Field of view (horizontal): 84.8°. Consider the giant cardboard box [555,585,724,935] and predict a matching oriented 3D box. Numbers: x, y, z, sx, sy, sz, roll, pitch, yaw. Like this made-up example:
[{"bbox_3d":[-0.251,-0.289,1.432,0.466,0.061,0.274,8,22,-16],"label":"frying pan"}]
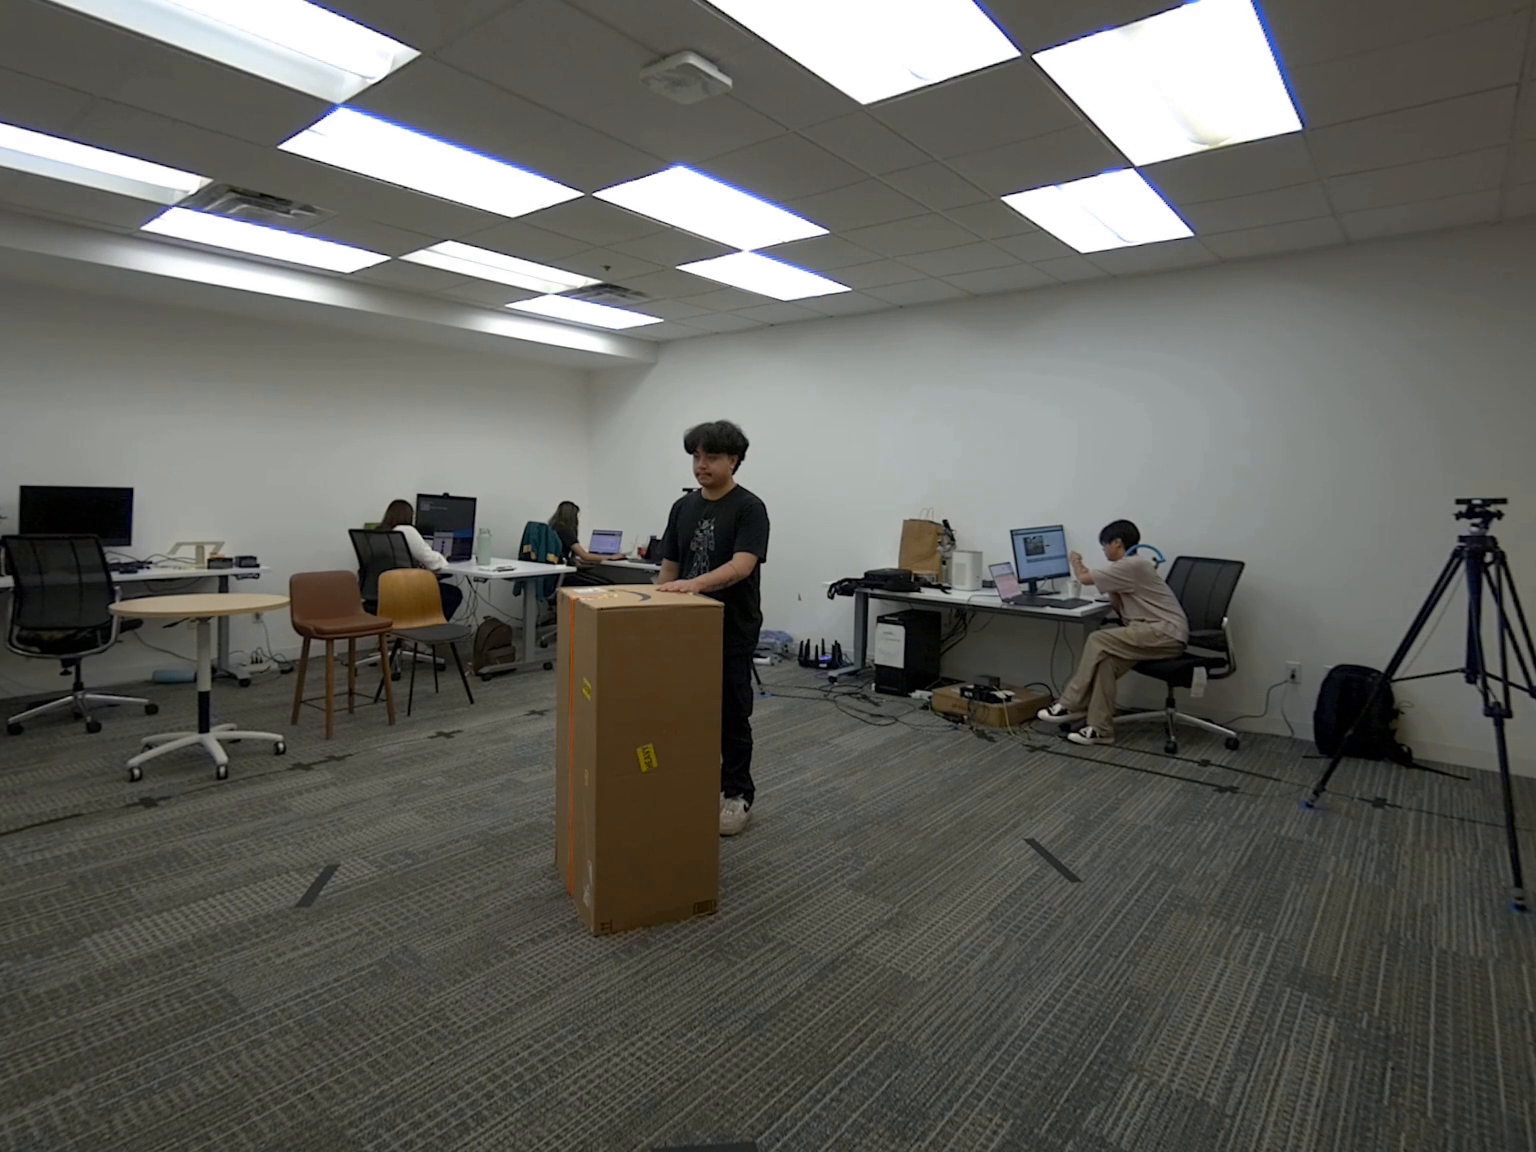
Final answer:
[{"bbox_3d":[-0.478,0.570,2.940,0.436,1.024,0.599,-1,4,-25],"label":"giant cardboard box"}]
